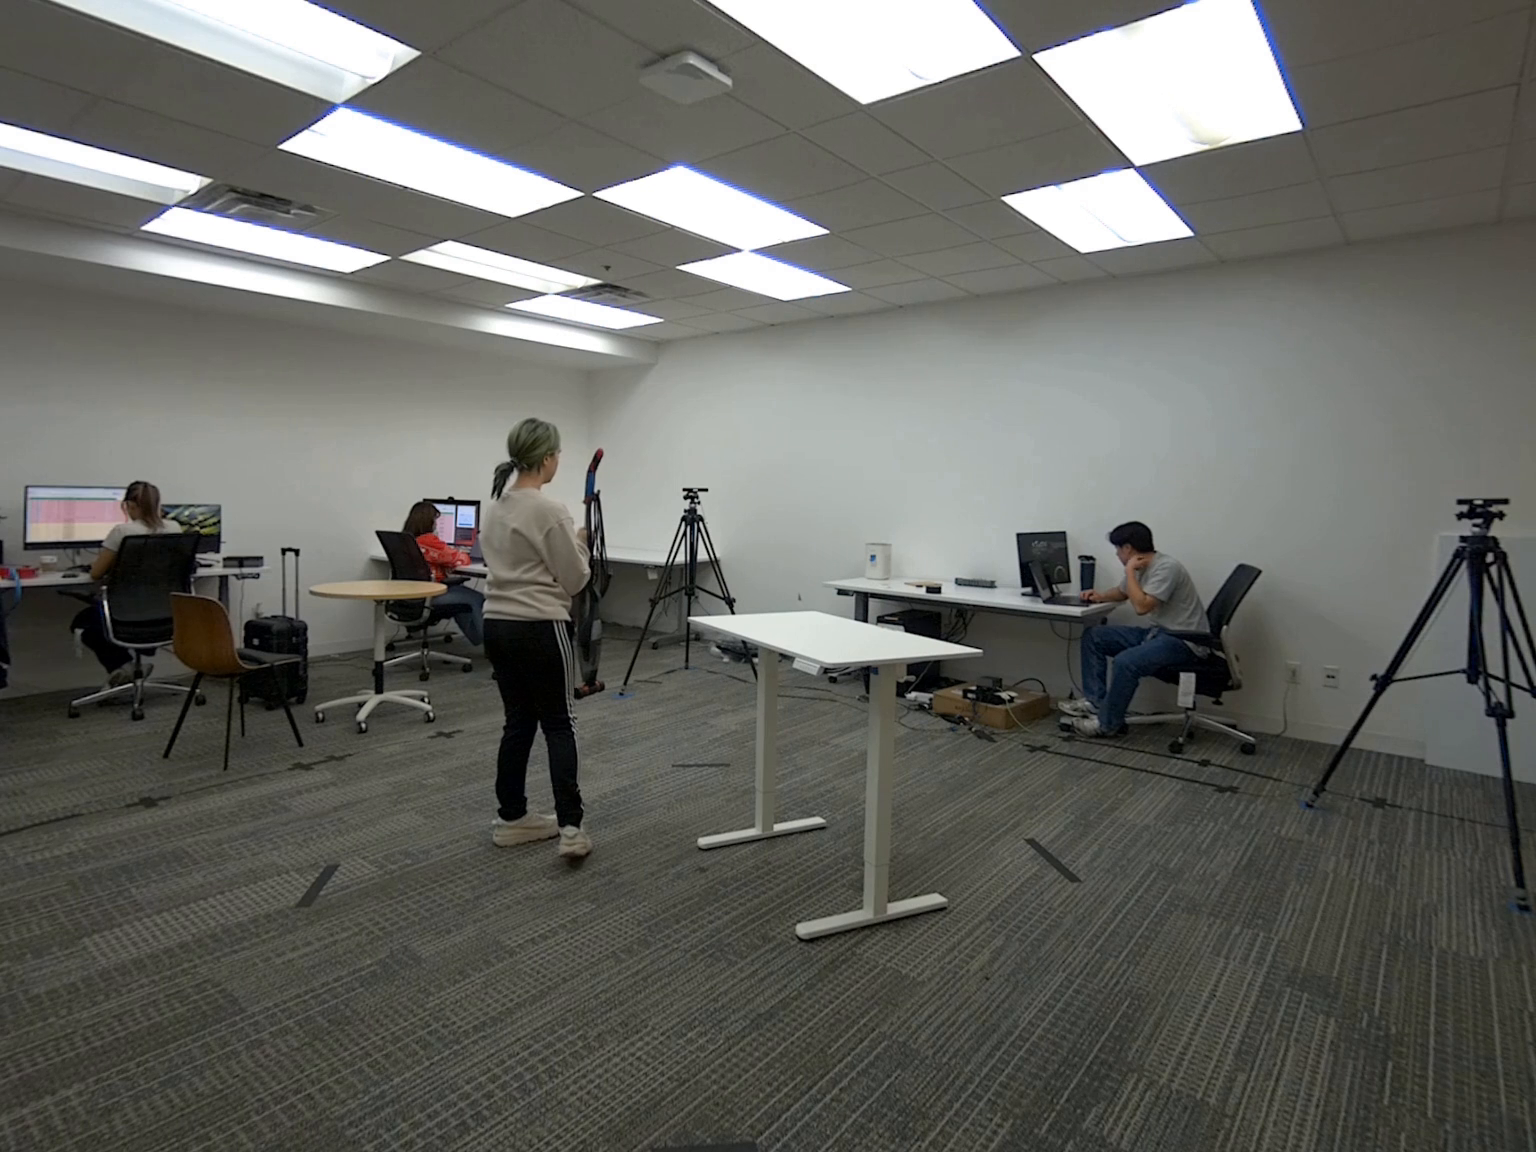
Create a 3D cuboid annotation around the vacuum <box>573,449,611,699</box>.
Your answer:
[{"bbox_3d":[-0.727,0.007,3.432,0.148,1.037,0.248,16,16,23],"label":"vacuum"}]
